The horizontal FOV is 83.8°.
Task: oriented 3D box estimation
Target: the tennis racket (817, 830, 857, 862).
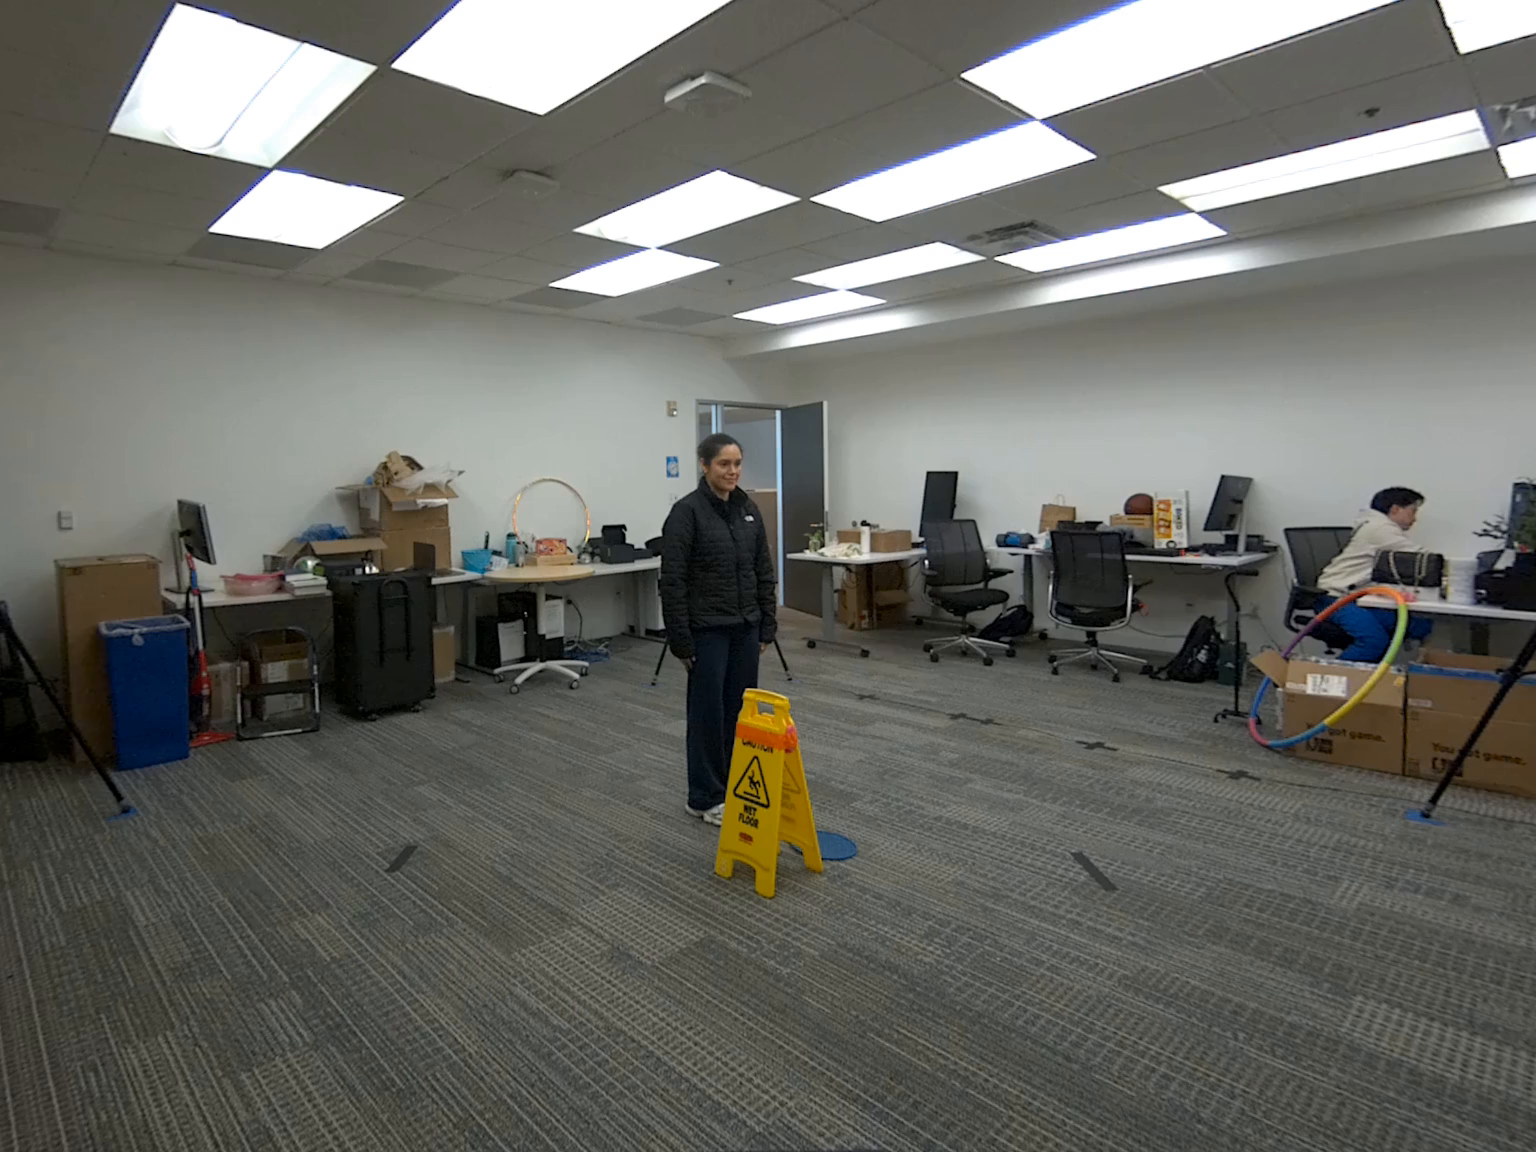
[{"bbox_3d":[0.137,1.009,3.292,0.446,0.031,0.208,6,8,35],"label":"tennis racket"}]
